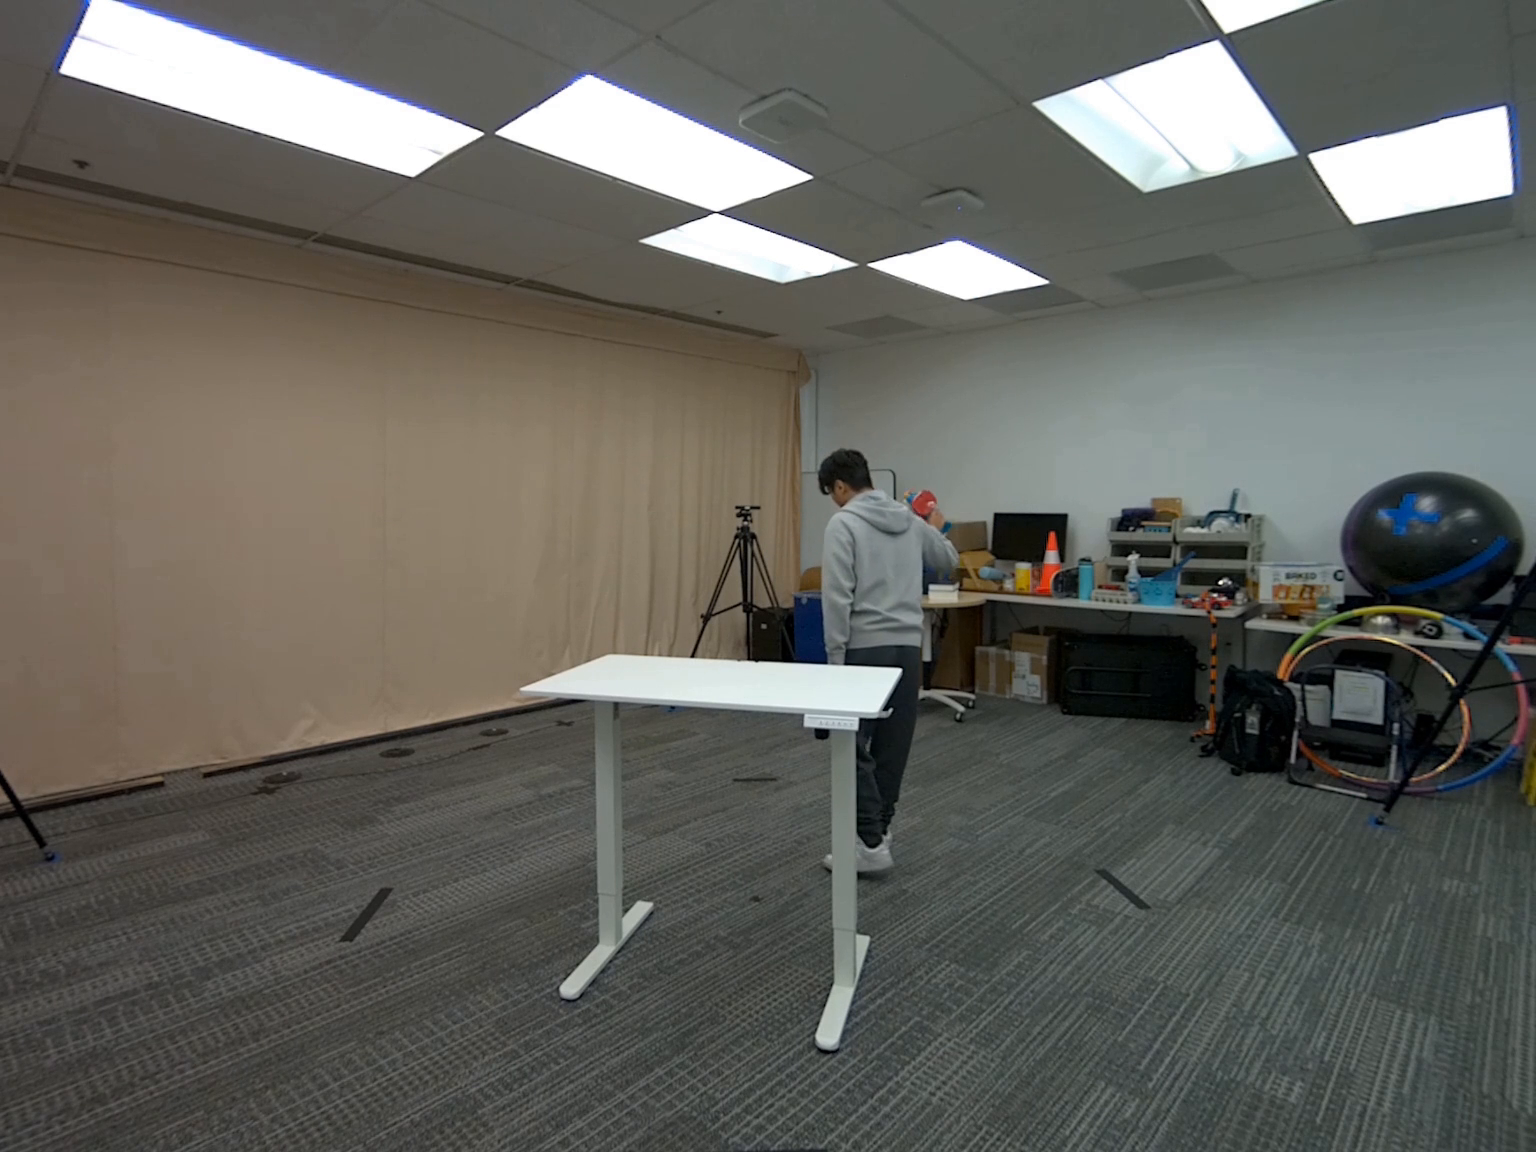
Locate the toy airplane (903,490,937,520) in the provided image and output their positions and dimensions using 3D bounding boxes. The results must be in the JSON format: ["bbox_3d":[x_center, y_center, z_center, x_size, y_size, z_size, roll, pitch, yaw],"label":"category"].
[{"bbox_3d":[0.720,-0.285,3.855,0.256,0.156,0.255,20,33,-11],"label":"toy airplane"}]
